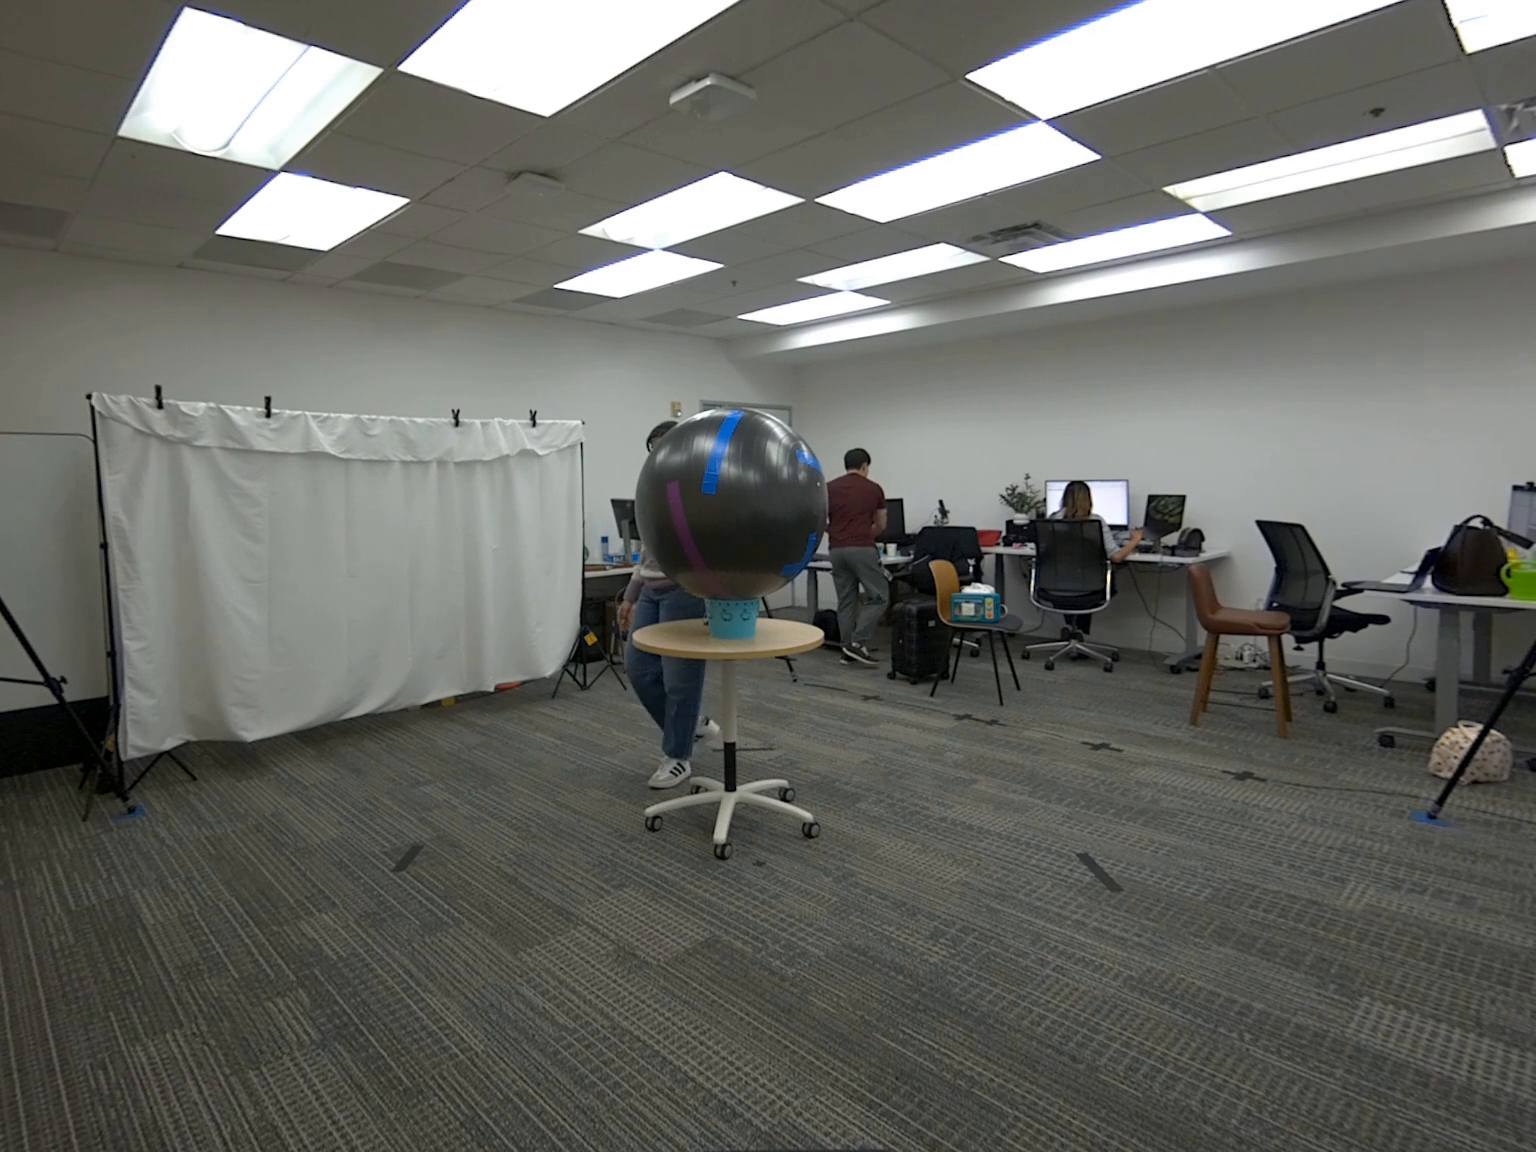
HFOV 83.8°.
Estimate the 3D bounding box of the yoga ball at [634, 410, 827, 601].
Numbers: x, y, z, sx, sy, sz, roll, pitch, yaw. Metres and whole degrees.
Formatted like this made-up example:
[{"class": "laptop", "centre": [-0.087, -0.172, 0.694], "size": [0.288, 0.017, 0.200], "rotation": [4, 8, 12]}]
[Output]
[{"class": "yoga ball", "centre": [-0.151, -0.275, 3.358], "size": [0.757, 0.755, 0.762], "rotation": [-1, 5, -2]}]
